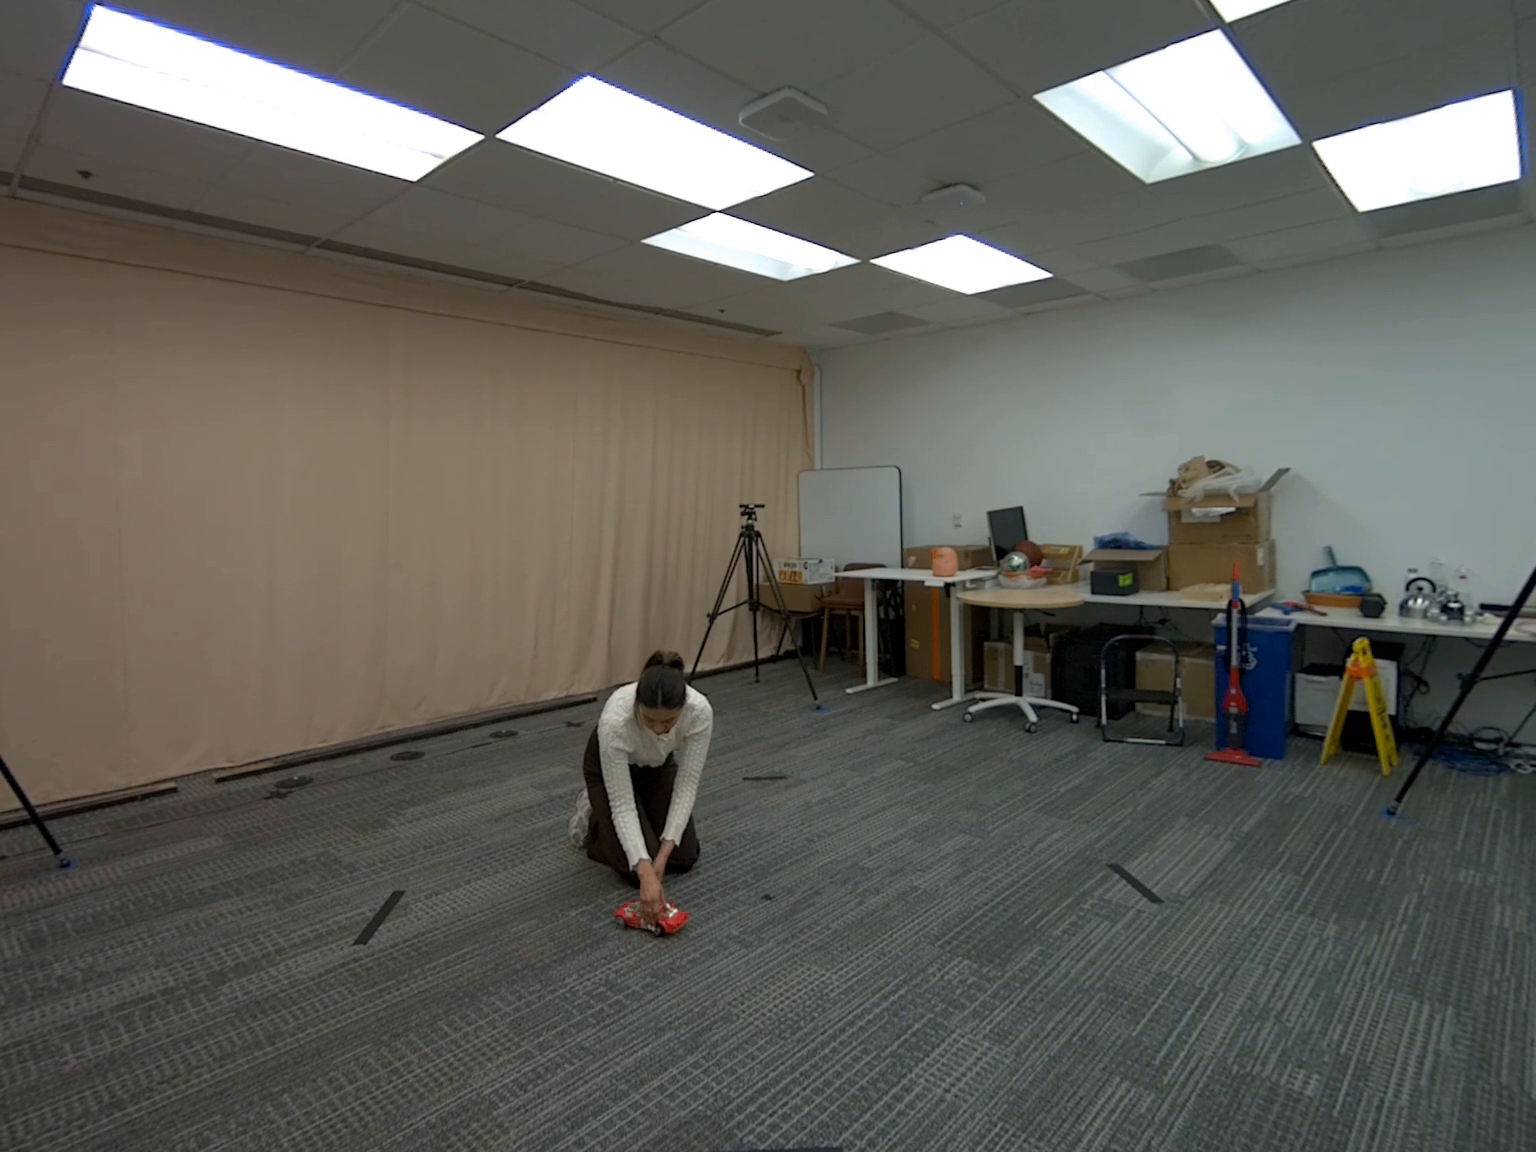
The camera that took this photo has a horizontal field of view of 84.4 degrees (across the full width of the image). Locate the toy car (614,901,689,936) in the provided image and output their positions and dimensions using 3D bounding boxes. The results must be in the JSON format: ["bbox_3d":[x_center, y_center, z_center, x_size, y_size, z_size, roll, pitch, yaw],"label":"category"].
[{"bbox_3d":[-0.375,1.133,2.787,0.260,0.083,0.127,-10,1,26],"label":"toy car"}]
